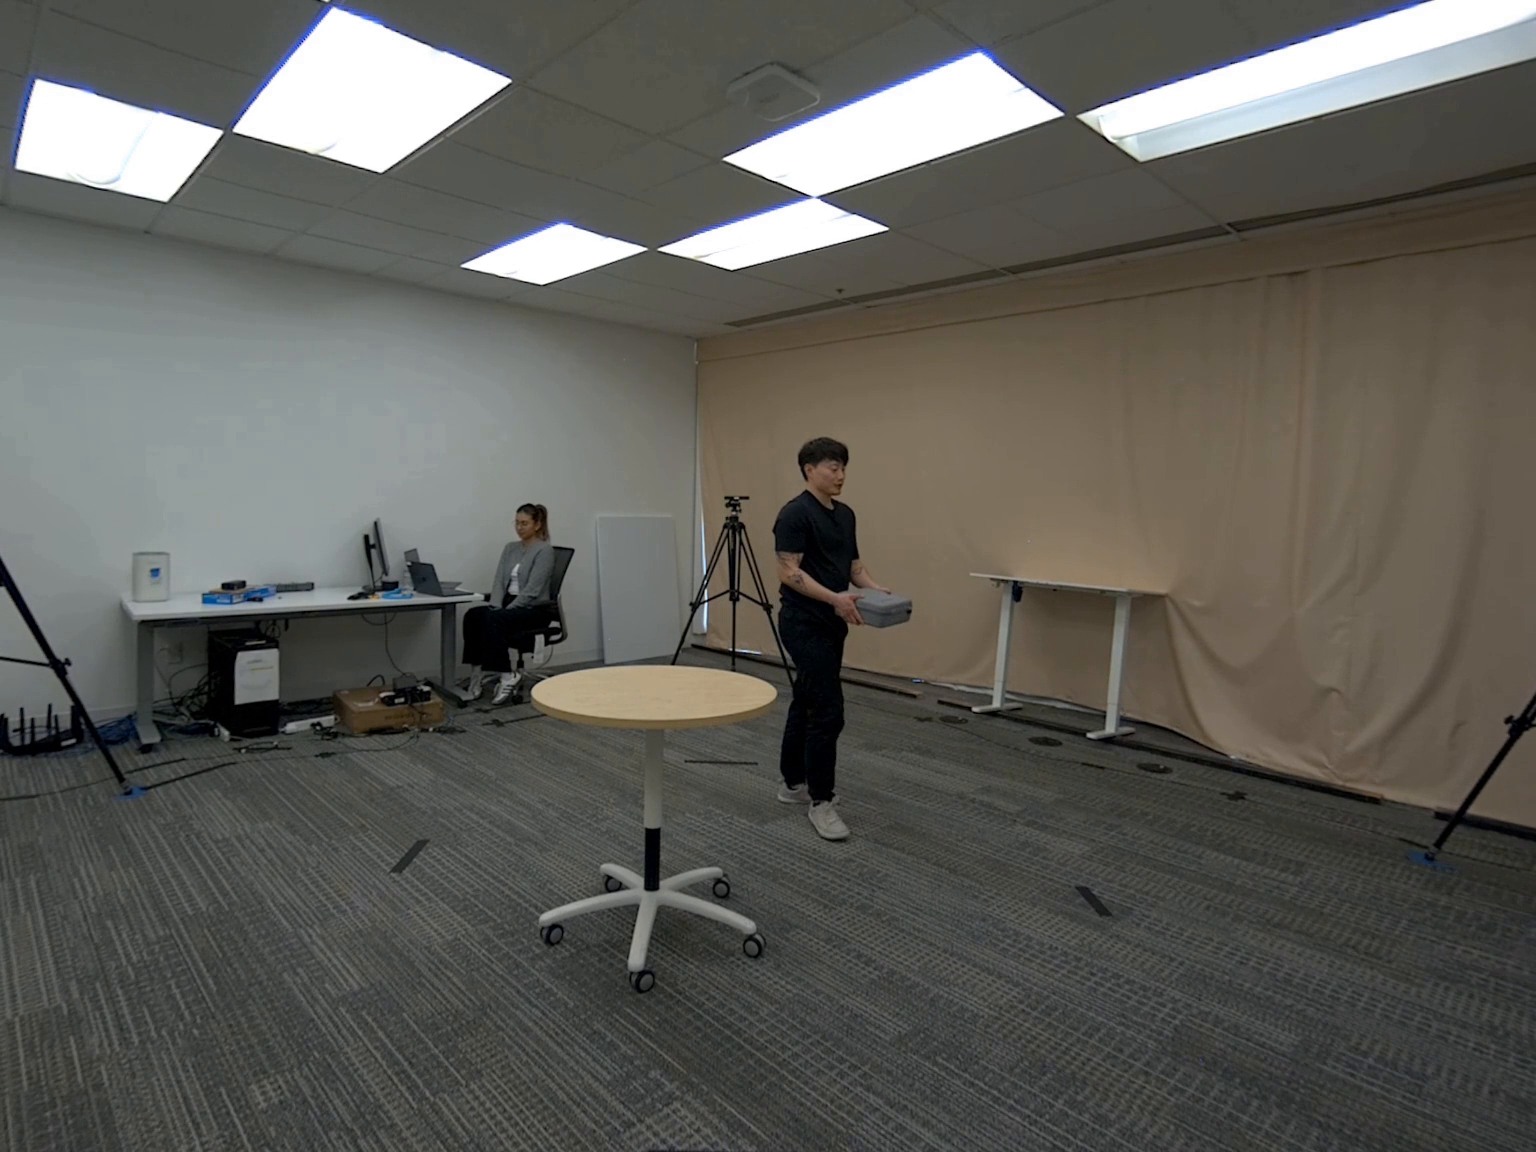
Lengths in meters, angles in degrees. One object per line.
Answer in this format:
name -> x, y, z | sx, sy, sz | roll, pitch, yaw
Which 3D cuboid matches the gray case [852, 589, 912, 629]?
gray case -> 0.442, 0.132, 3.594 | 0.268, 0.103, 0.252 | 13, 15, 39
